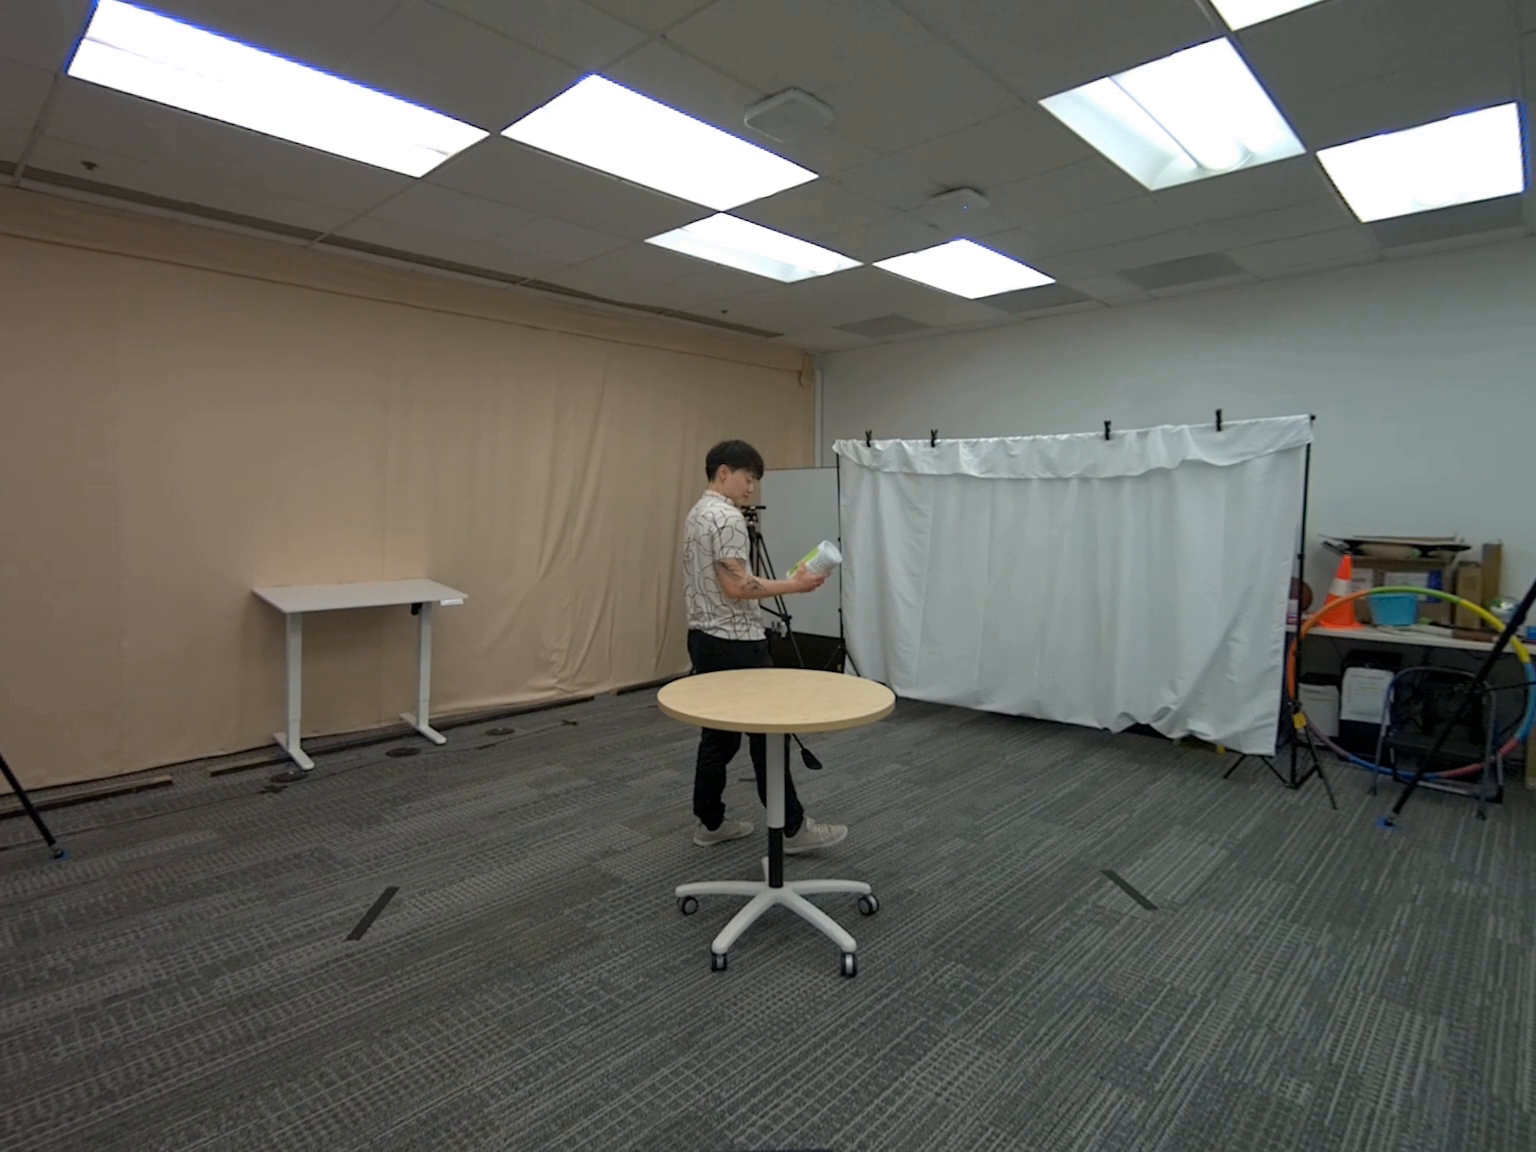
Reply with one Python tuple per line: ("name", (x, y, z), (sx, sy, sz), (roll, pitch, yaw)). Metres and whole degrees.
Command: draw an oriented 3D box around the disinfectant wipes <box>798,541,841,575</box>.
("disinfectant wipes", (0.188, -0.034, 3.322), (0.220, 0.120, 0.114), (-40, -17, 28))
